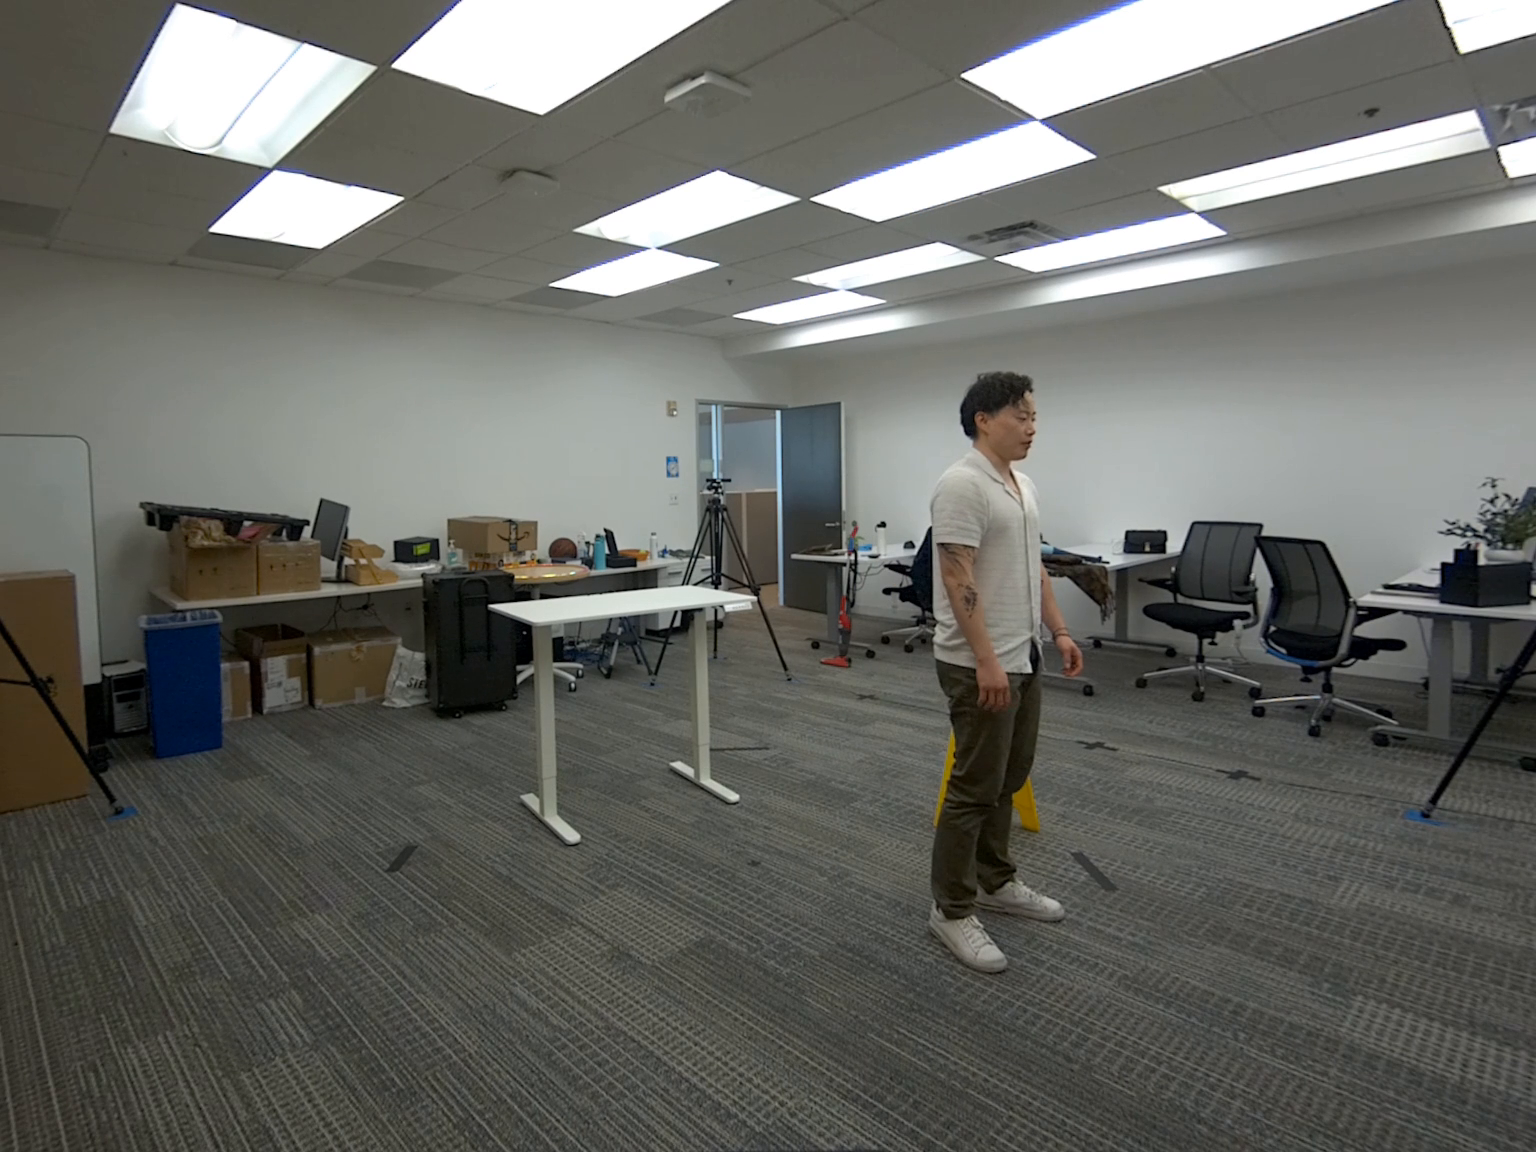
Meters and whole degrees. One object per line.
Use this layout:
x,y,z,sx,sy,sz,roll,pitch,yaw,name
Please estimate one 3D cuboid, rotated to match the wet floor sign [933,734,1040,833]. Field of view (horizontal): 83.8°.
0.867,0.681,3.359,0.282,0.644,0.290,-3,5,-36,wet floor sign
